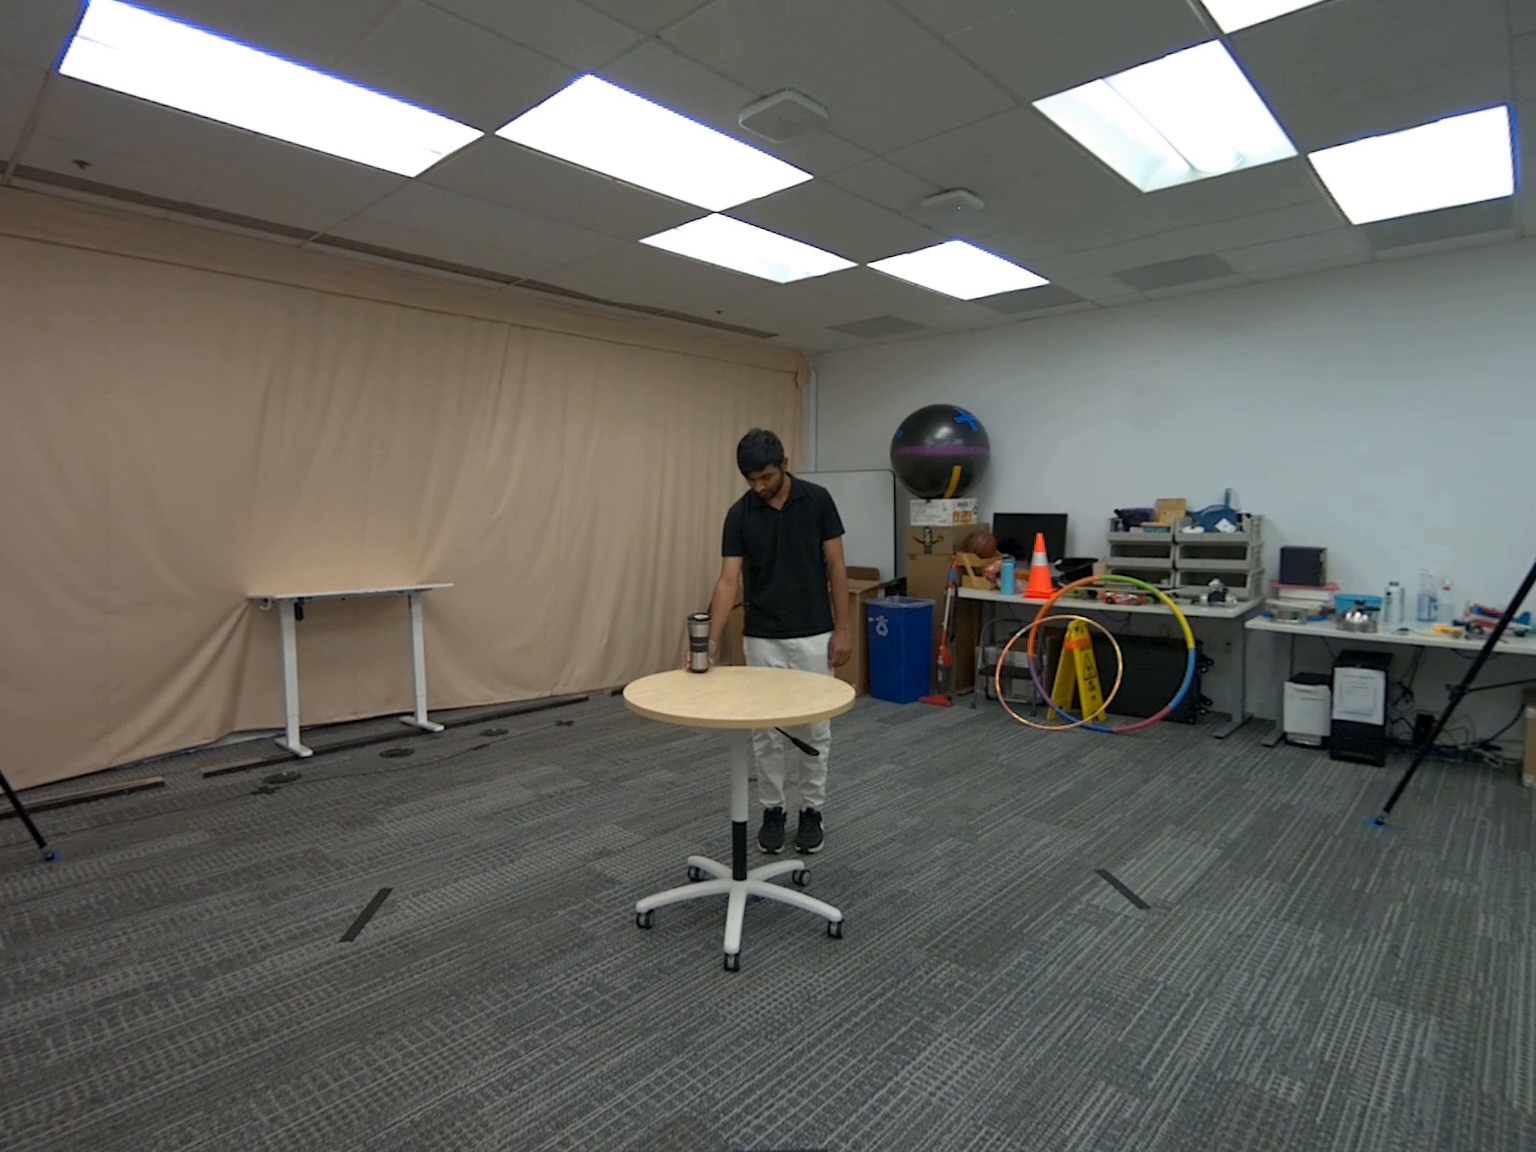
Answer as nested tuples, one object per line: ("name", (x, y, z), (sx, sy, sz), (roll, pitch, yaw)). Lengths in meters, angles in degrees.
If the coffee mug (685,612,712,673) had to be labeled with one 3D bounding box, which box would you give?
("coffee mug", (-0.236, 0.240, 3.080), (0.090, 0.202, 0.119), (1, 9, 32))
